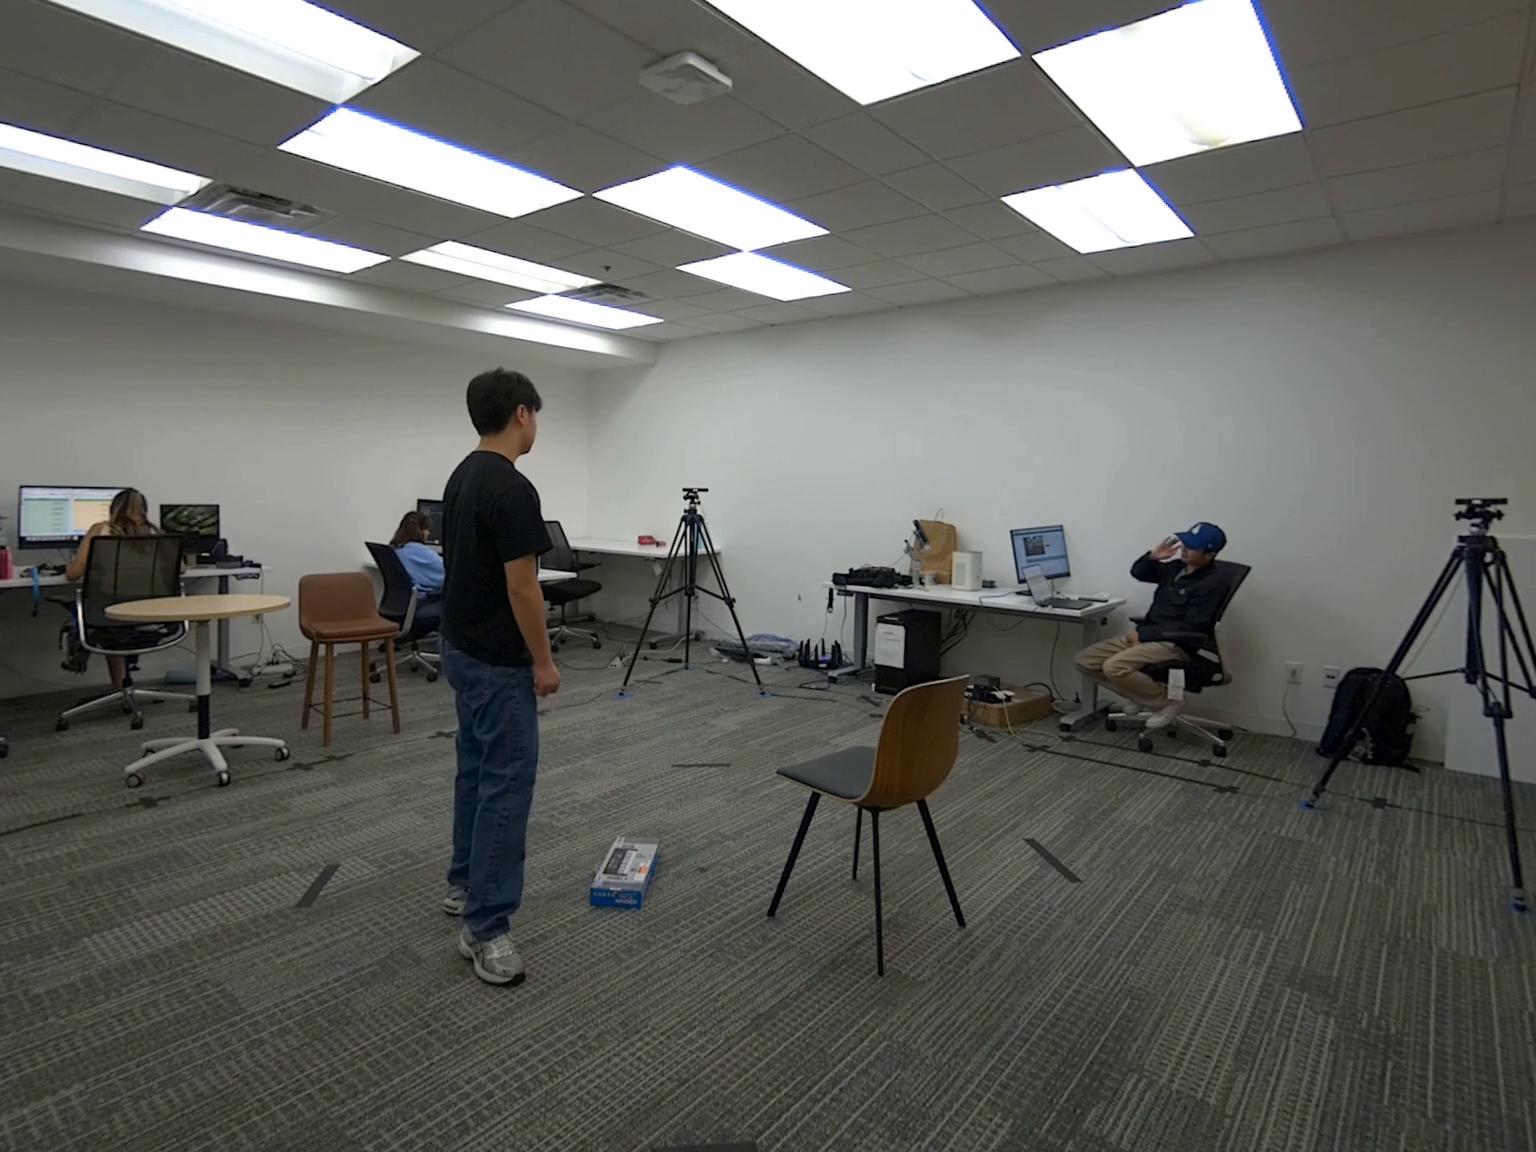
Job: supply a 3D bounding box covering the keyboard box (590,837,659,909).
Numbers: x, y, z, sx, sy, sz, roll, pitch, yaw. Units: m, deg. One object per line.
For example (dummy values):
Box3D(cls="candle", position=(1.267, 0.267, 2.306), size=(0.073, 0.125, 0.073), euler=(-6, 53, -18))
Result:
Box3D(cls="keyboard box", position=(-0.510, 1.043, 3.026), size=(0.176, 0.059, 0.437), euler=(2, 5, 2))
